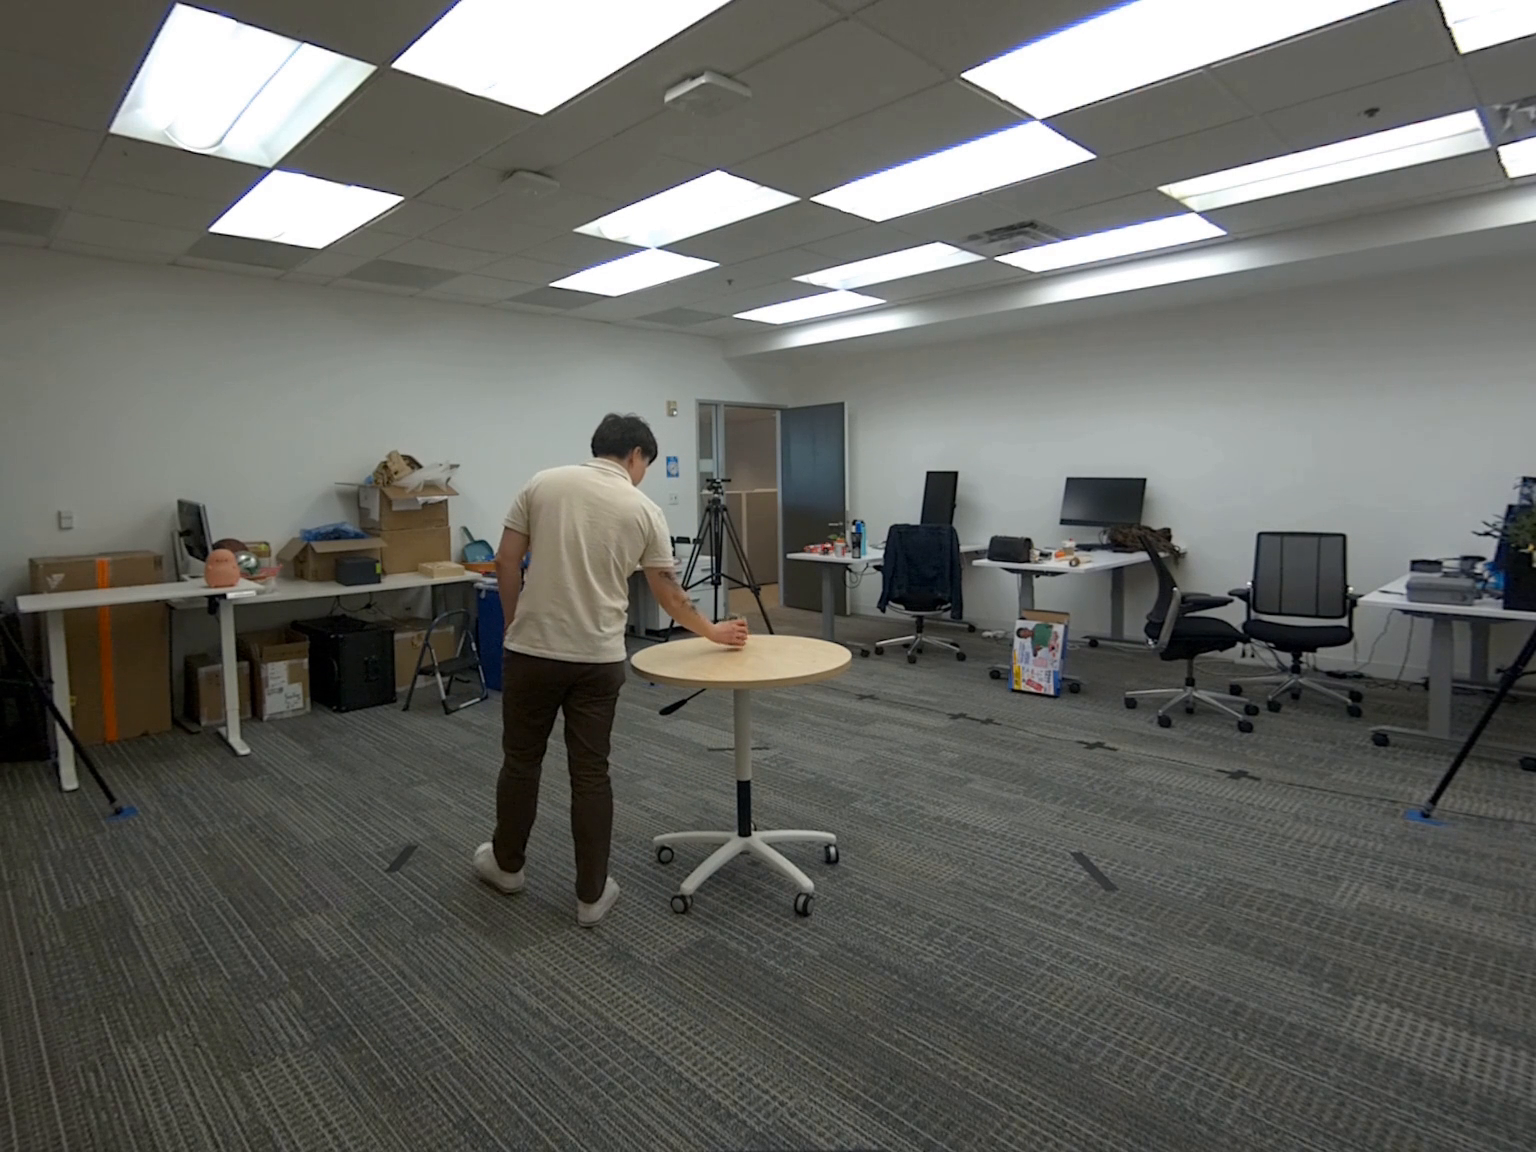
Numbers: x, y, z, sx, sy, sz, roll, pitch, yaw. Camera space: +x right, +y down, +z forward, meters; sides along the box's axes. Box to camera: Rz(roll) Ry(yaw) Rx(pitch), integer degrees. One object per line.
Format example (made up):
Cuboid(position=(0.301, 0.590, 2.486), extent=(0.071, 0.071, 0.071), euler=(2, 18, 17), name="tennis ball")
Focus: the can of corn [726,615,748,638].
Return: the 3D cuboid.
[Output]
Cuboid(position=(-0.117, 0.187, 3.084), extent=(0.074, 0.111, 0.074), euler=(5, 0, -2), name="can of corn")
